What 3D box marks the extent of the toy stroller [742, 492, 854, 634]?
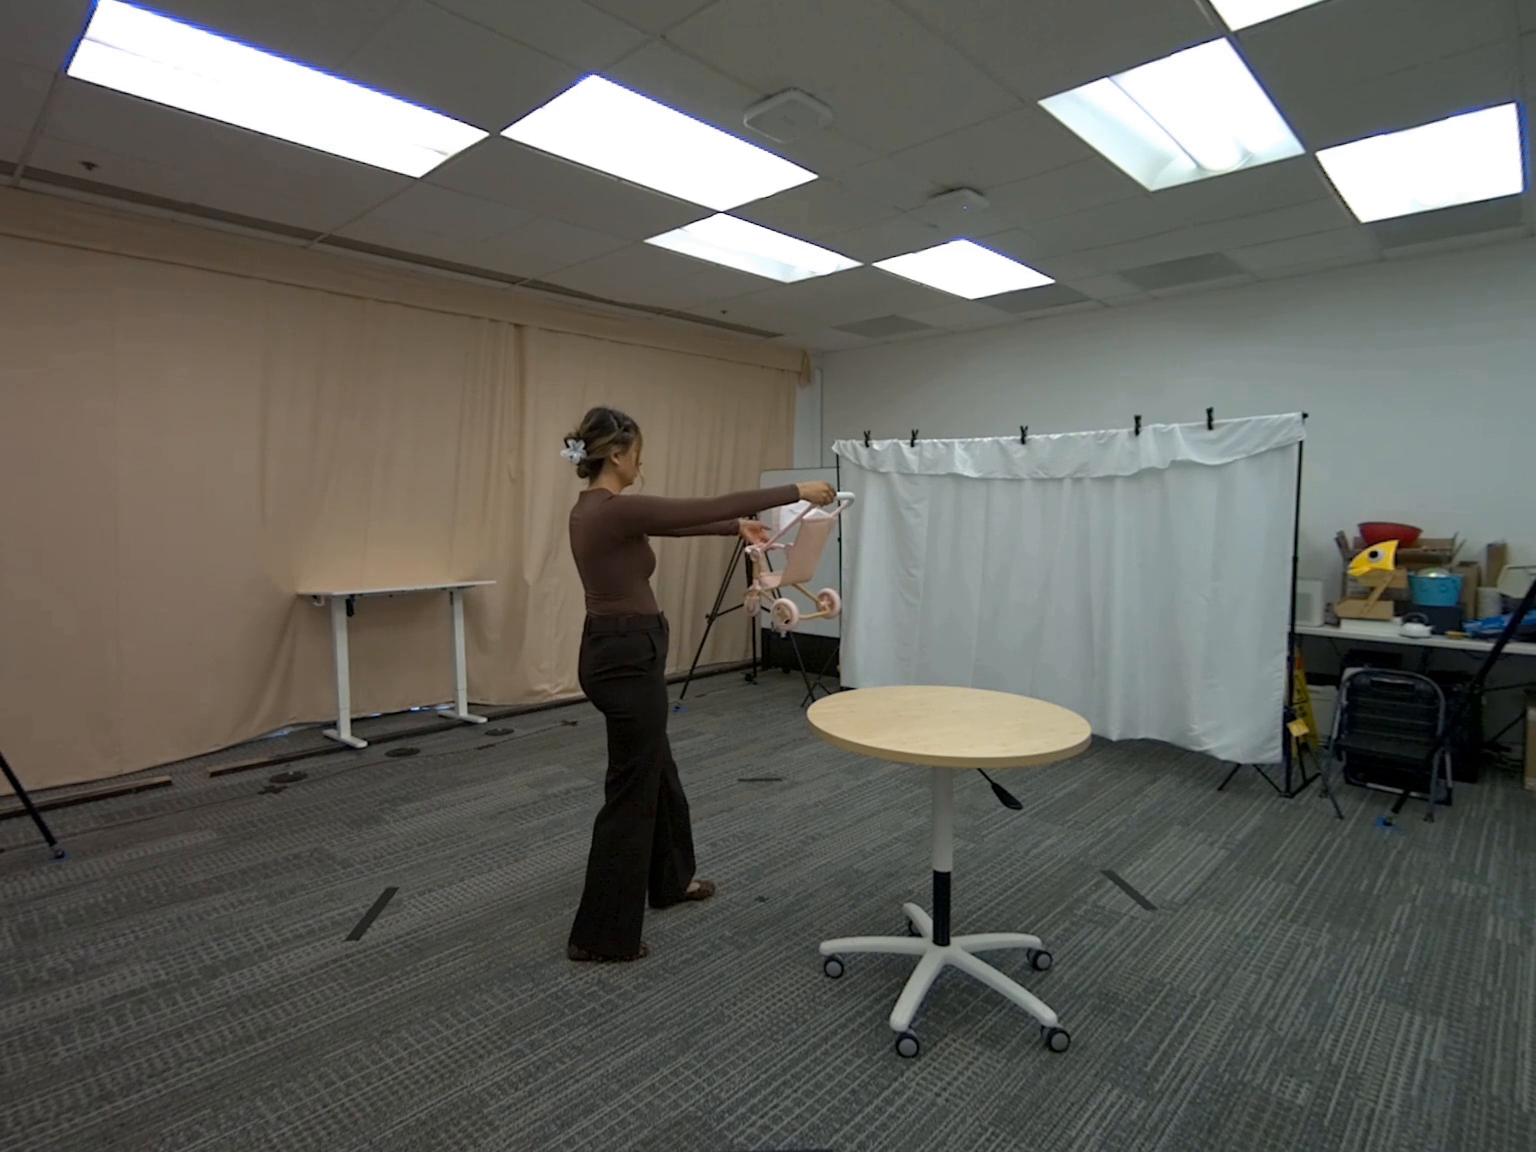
[{"bbox_3d":[0.083,-0.068,2.923,0.273,0.531,0.354,-6,22,-44],"label":"toy stroller"}]
